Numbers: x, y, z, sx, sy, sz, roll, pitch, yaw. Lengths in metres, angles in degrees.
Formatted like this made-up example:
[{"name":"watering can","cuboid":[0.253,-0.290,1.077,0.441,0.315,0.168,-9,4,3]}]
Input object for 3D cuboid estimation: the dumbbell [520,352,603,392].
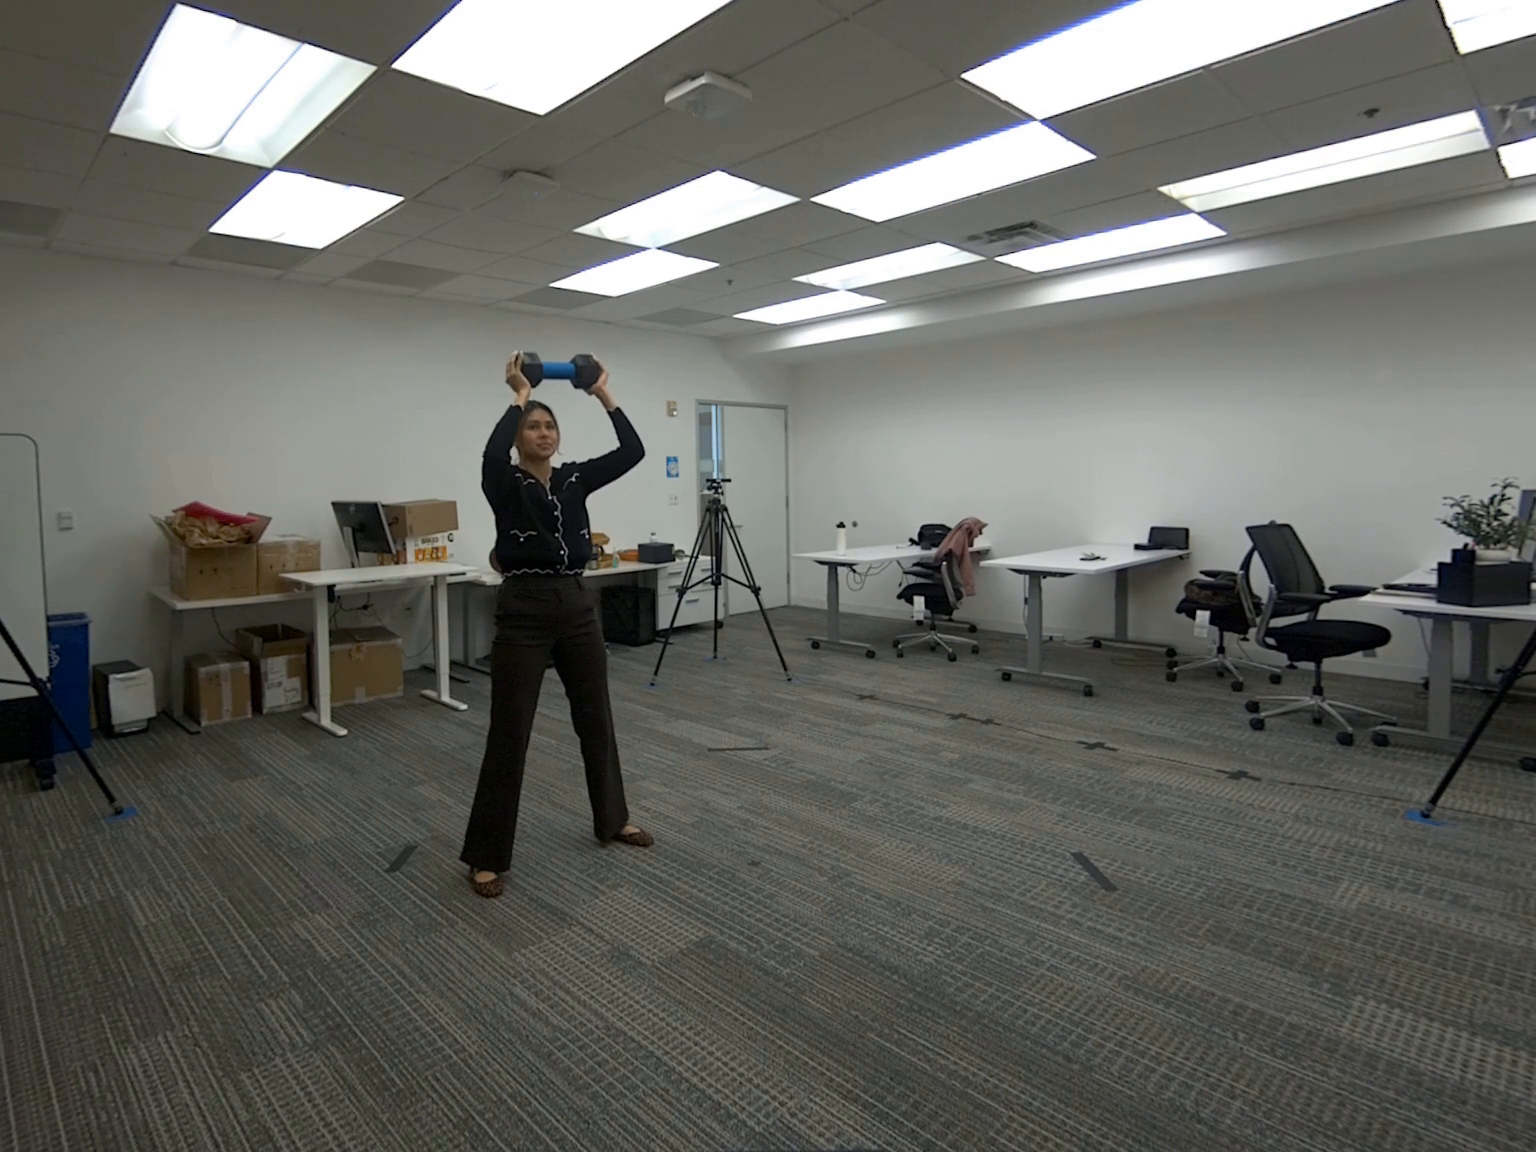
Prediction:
[{"name":"dumbbell","cuboid":[-0.744,-0.712,2.976,0.286,0.107,0.127,-8,50,-35]}]
